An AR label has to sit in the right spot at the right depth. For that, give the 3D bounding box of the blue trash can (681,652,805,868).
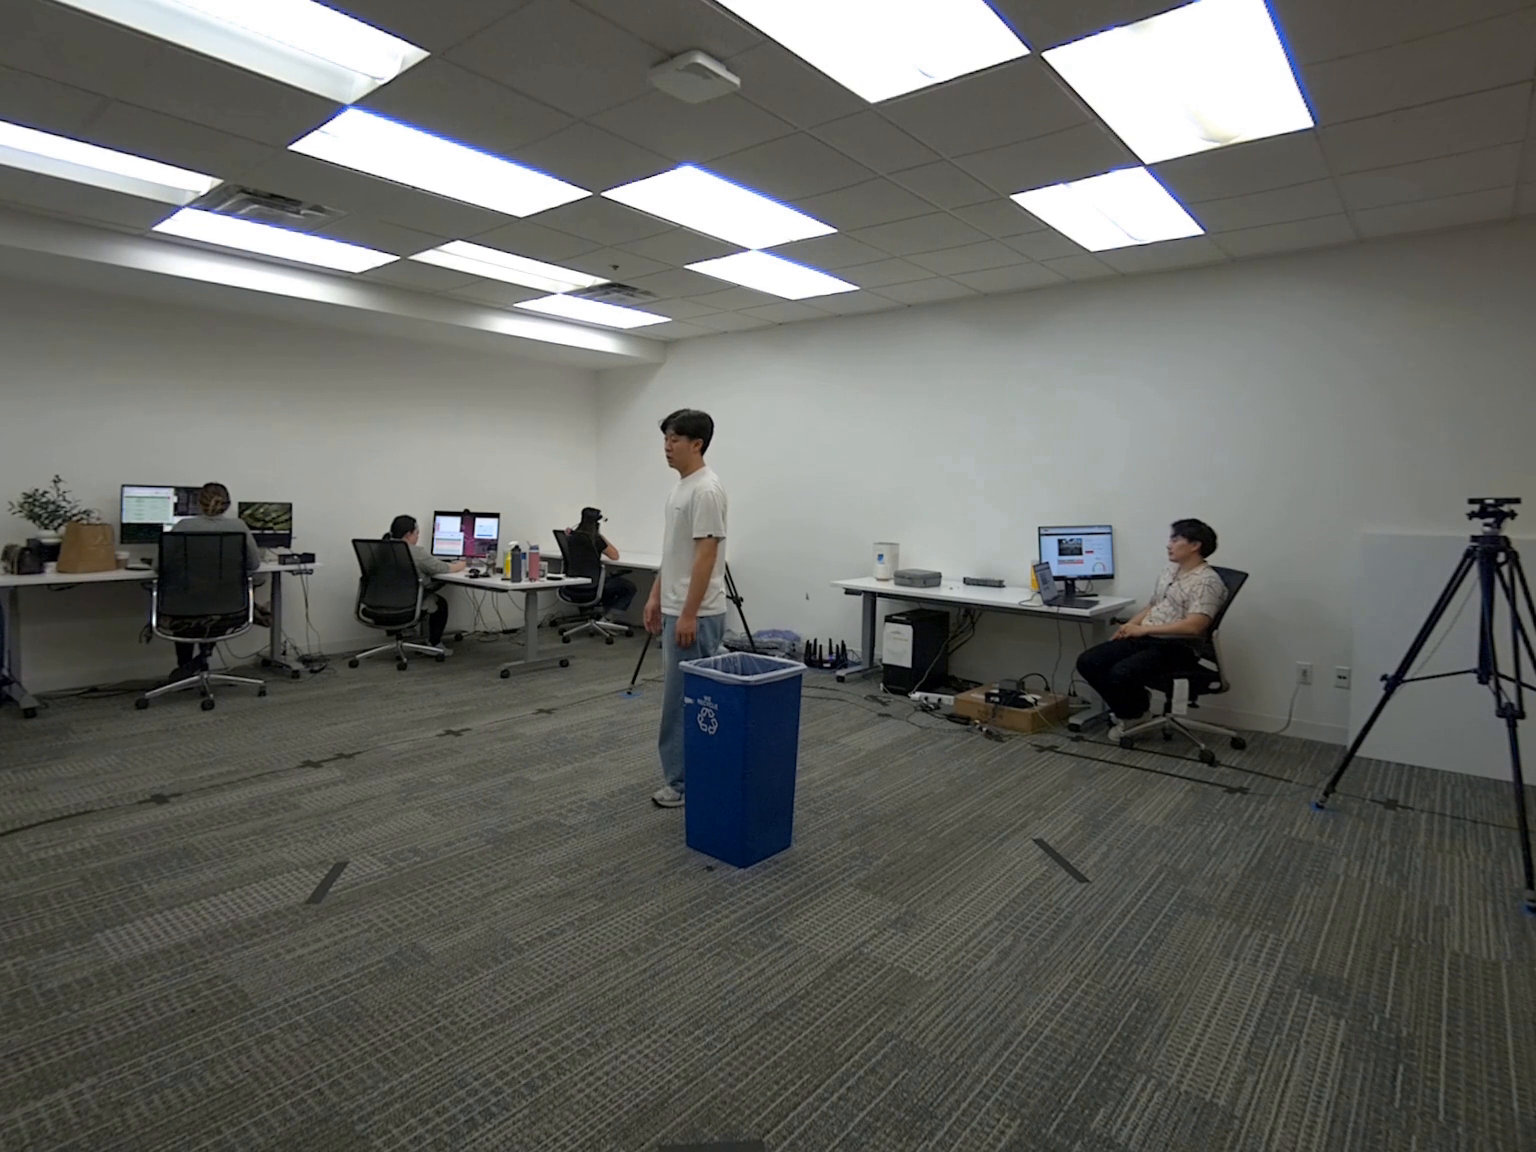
[{"bbox_3d":[-0.106,0.691,3.292,0.386,0.712,0.367,3,4,40],"label":"blue trash can"}]
